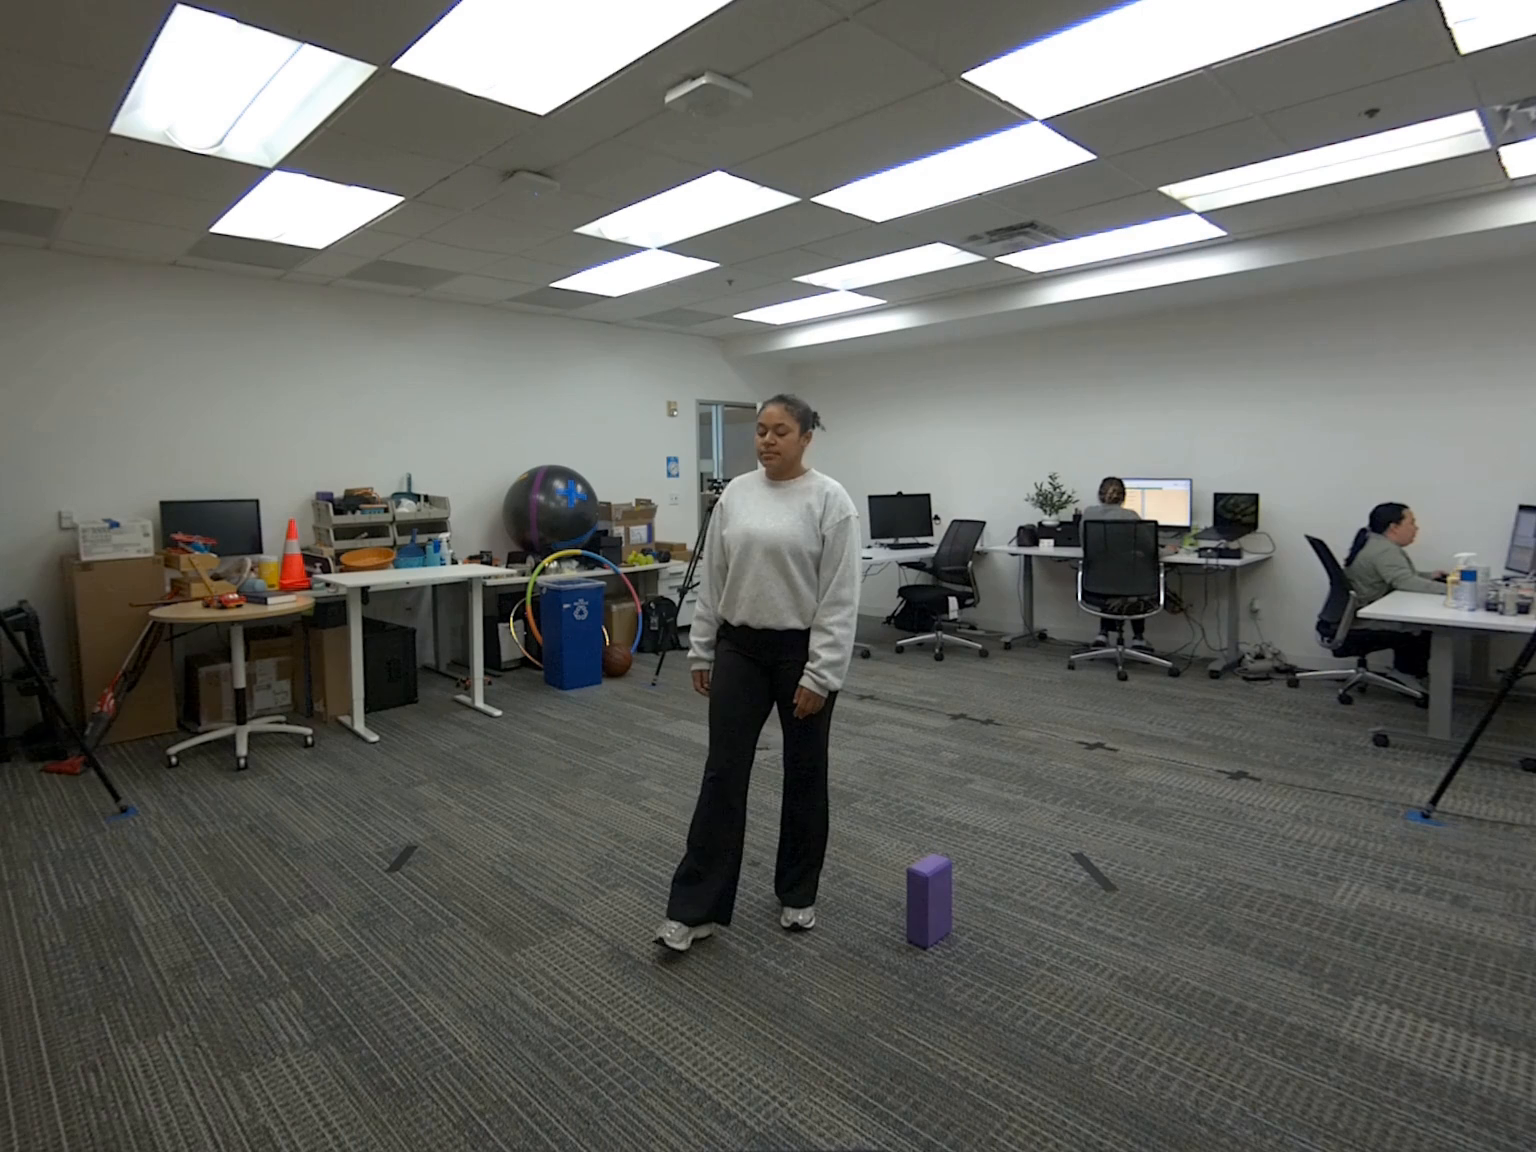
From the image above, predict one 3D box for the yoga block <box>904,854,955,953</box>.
[{"bbox_3d":[0.490,0.976,2.583,0.079,0.229,0.145,4,5,44],"label":"yoga block"}]
